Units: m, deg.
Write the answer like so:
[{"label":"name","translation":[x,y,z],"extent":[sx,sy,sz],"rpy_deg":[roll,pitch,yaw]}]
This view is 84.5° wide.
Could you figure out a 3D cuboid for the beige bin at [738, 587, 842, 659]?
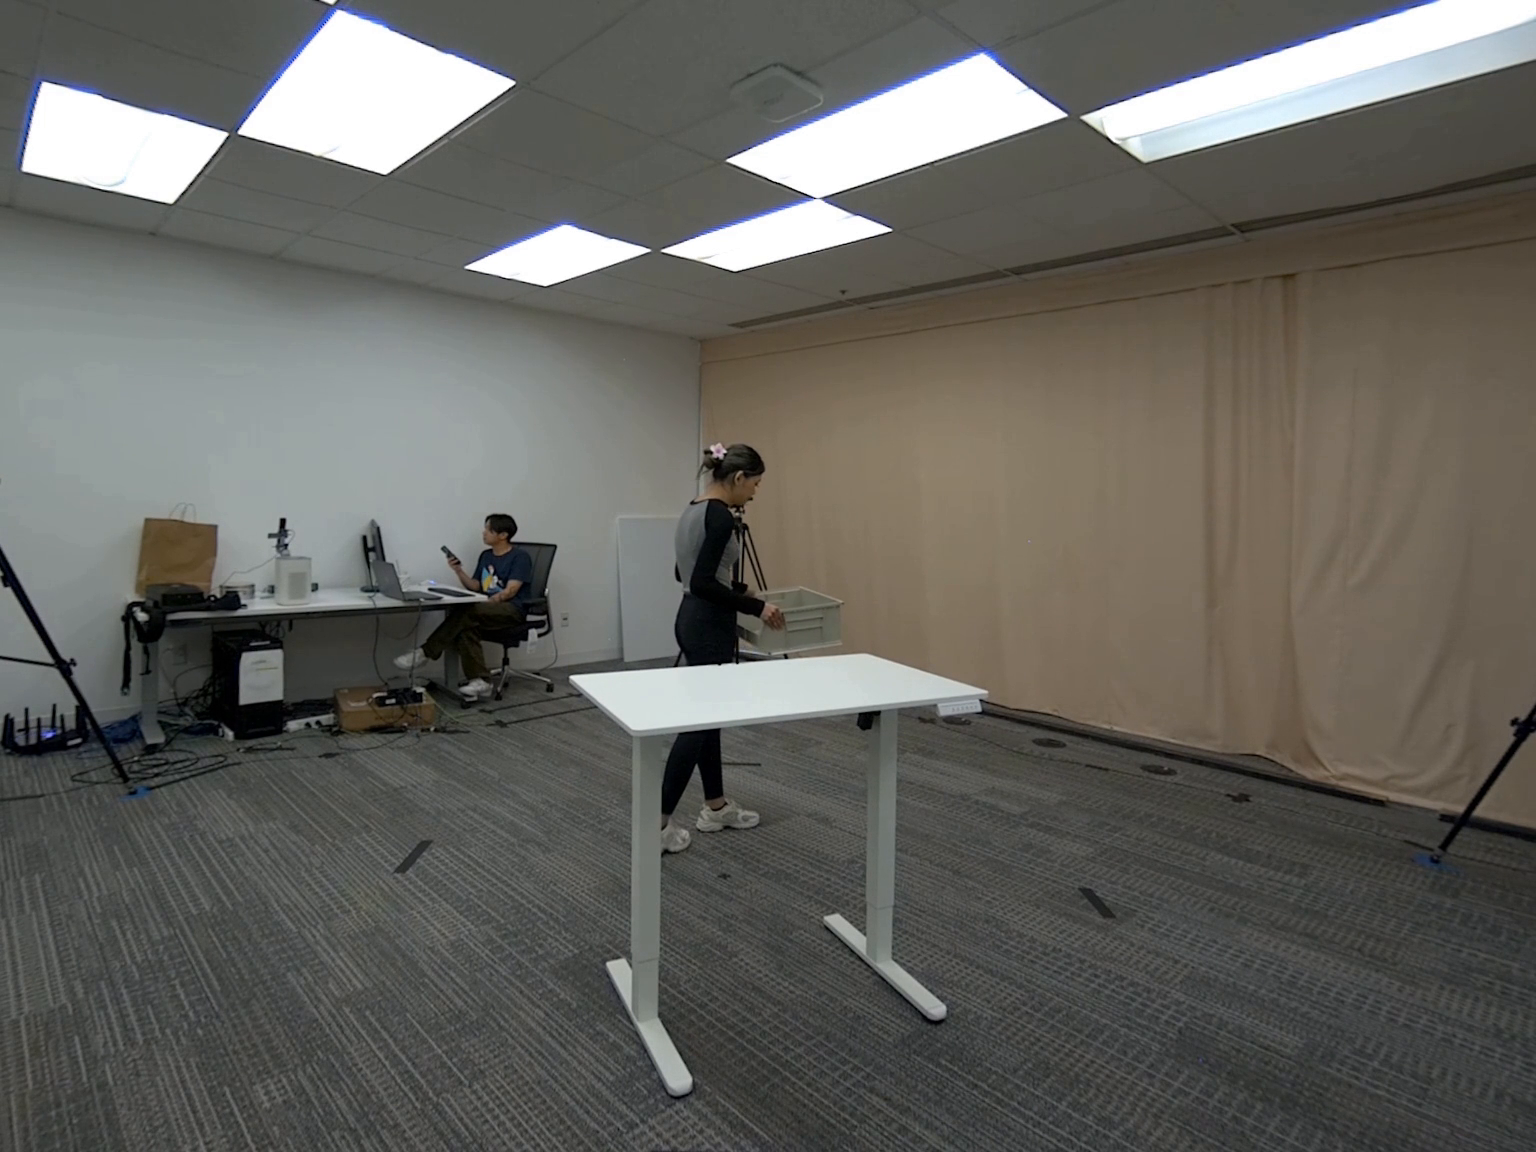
[{"label":"beige bin","translation":[0.052,0.181,3.536],"extent":[0.372,0.188,0.430],"rpy_deg":[-6,8,-20]}]
